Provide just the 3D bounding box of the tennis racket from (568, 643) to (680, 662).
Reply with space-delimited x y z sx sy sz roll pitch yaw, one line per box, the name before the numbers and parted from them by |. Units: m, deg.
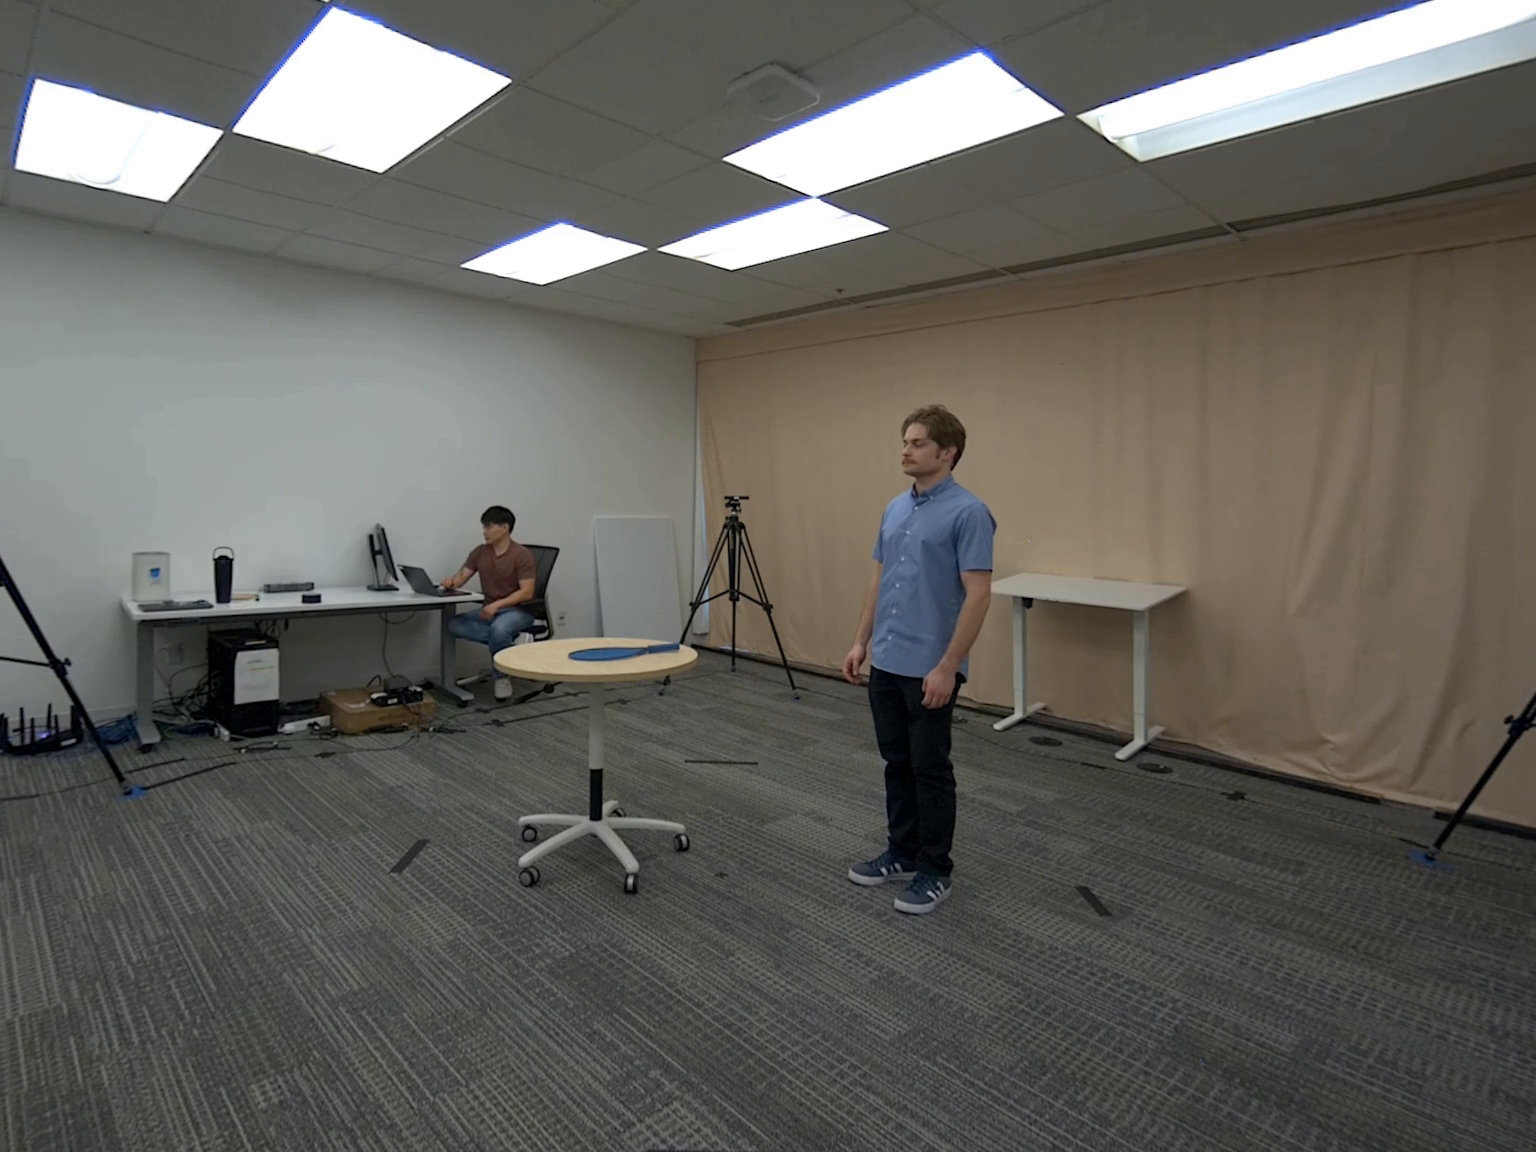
tennis racket | -0.552 0.290 3.198 0.426 0.031 0.217 -3 5 -22
